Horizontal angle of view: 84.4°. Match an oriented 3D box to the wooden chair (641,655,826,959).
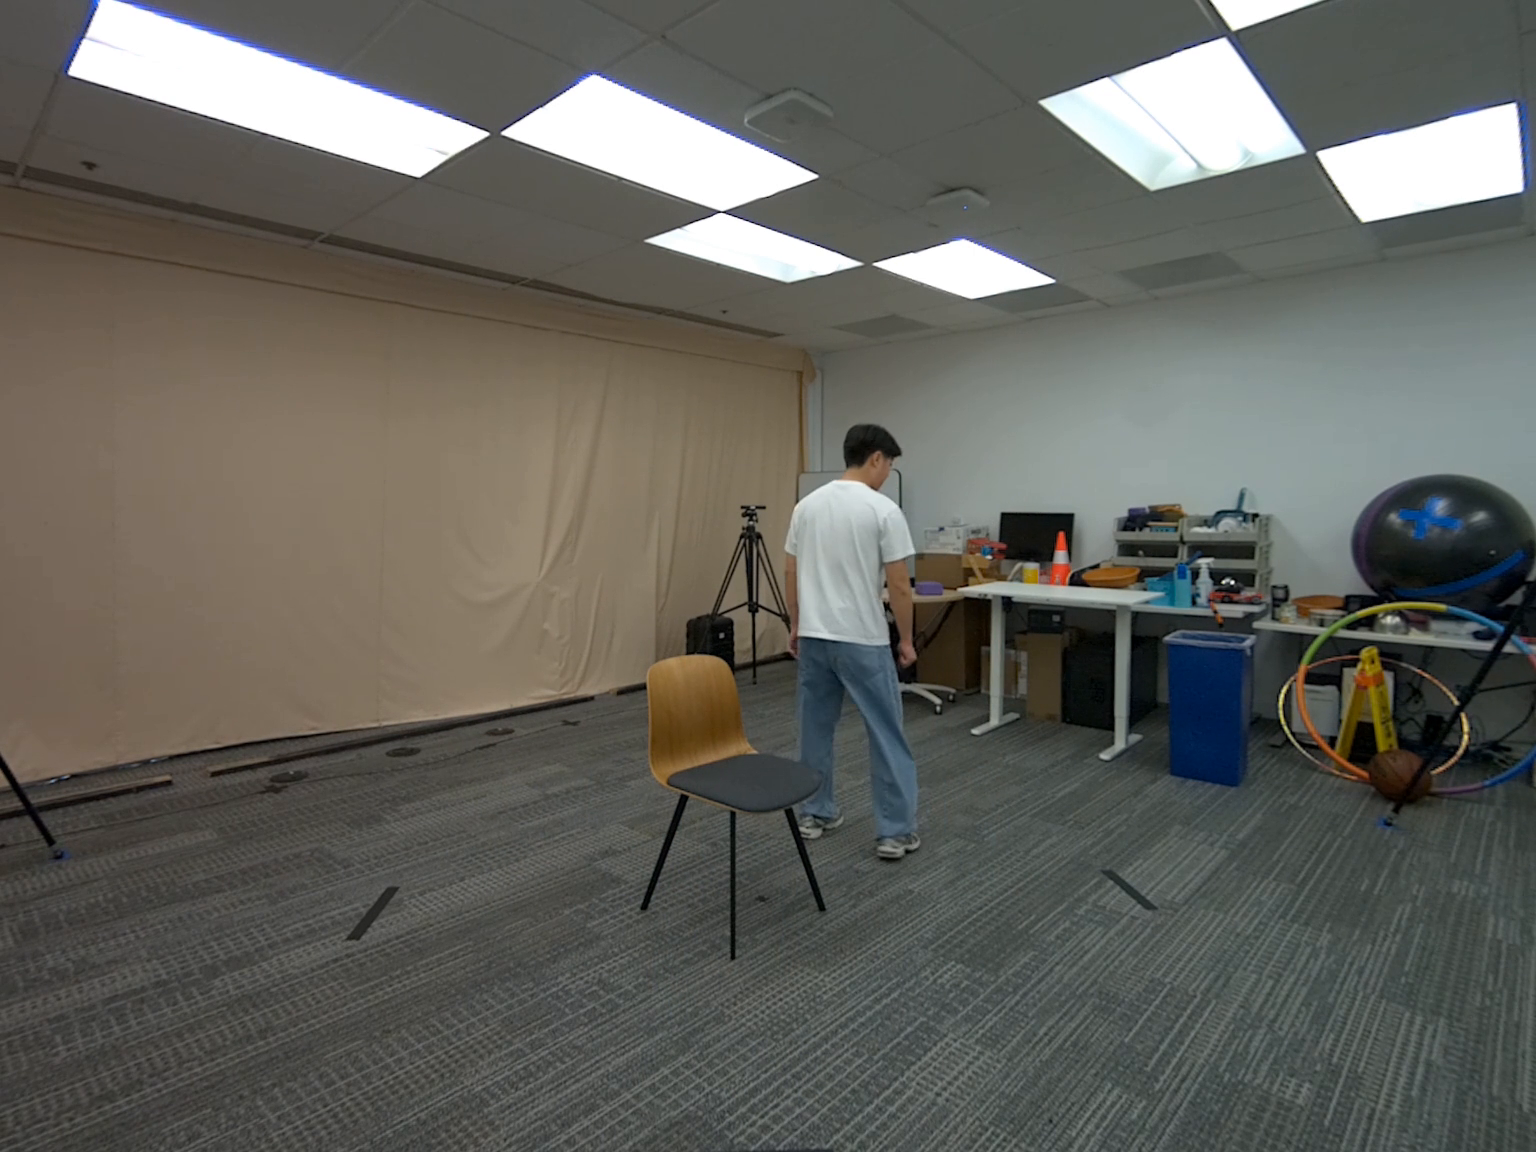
[{"bbox_3d":[-0.116,0.728,2.859,0.539,0.877,0.463,-3,0,45],"label":"wooden chair"}]
